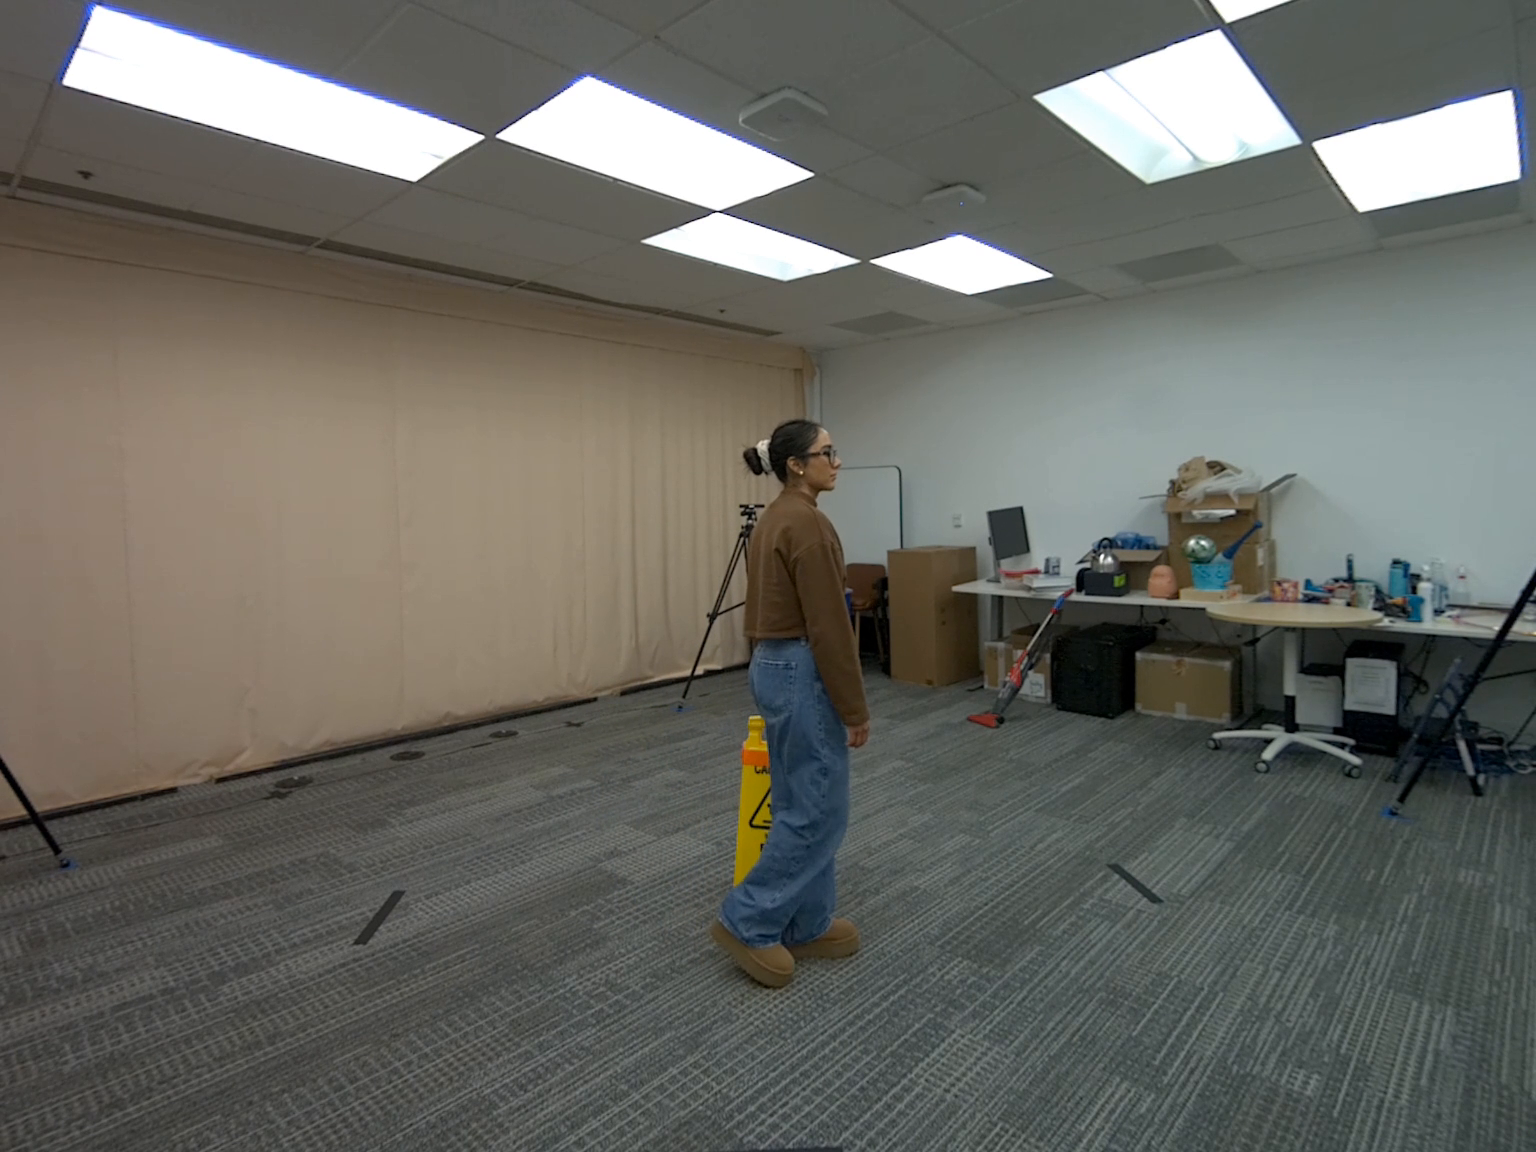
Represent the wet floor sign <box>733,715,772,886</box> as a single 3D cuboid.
[{"bbox_3d":[0.041,0.815,2.963,0.287,0.645,0.286,1,3,14],"label":"wet floor sign"}]
